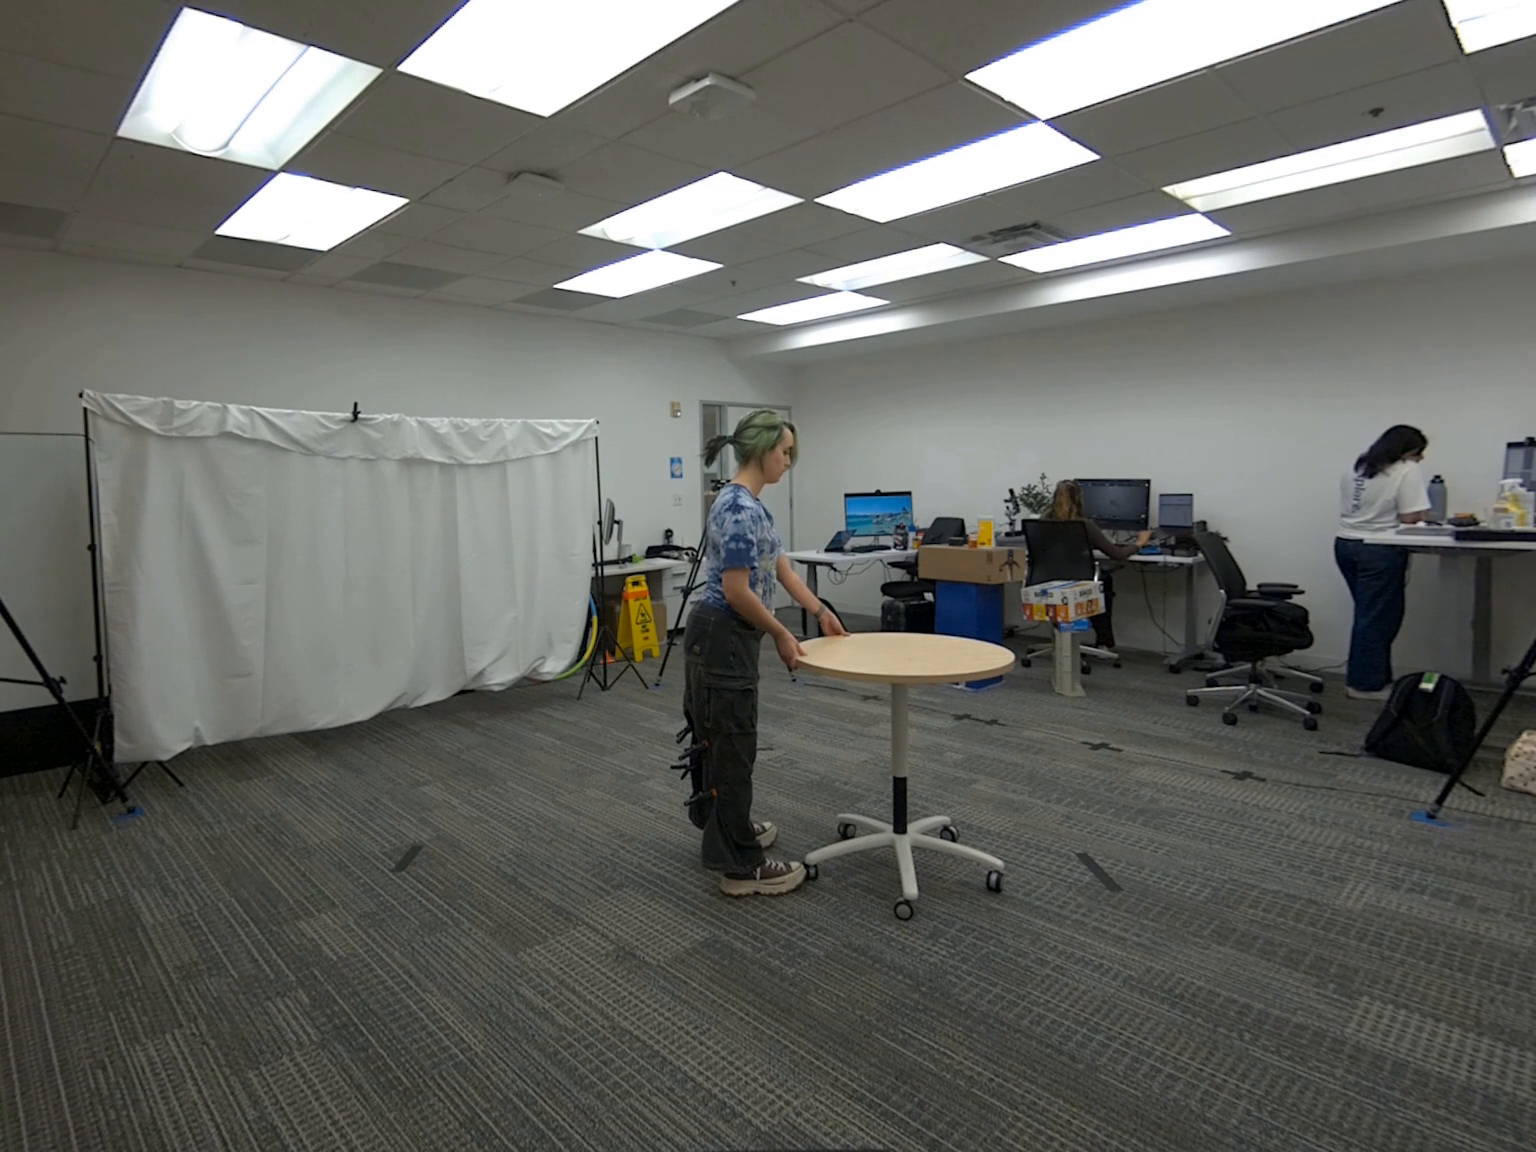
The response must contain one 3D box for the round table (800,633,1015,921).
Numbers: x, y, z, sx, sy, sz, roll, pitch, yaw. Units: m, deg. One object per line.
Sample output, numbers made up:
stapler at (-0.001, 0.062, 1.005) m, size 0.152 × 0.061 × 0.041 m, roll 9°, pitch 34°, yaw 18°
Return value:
round table at (0.463, 0.658, 3.011) m, size 0.763 × 0.791 × 0.768 m, roll -1°, pitch 5°, yaw -2°
